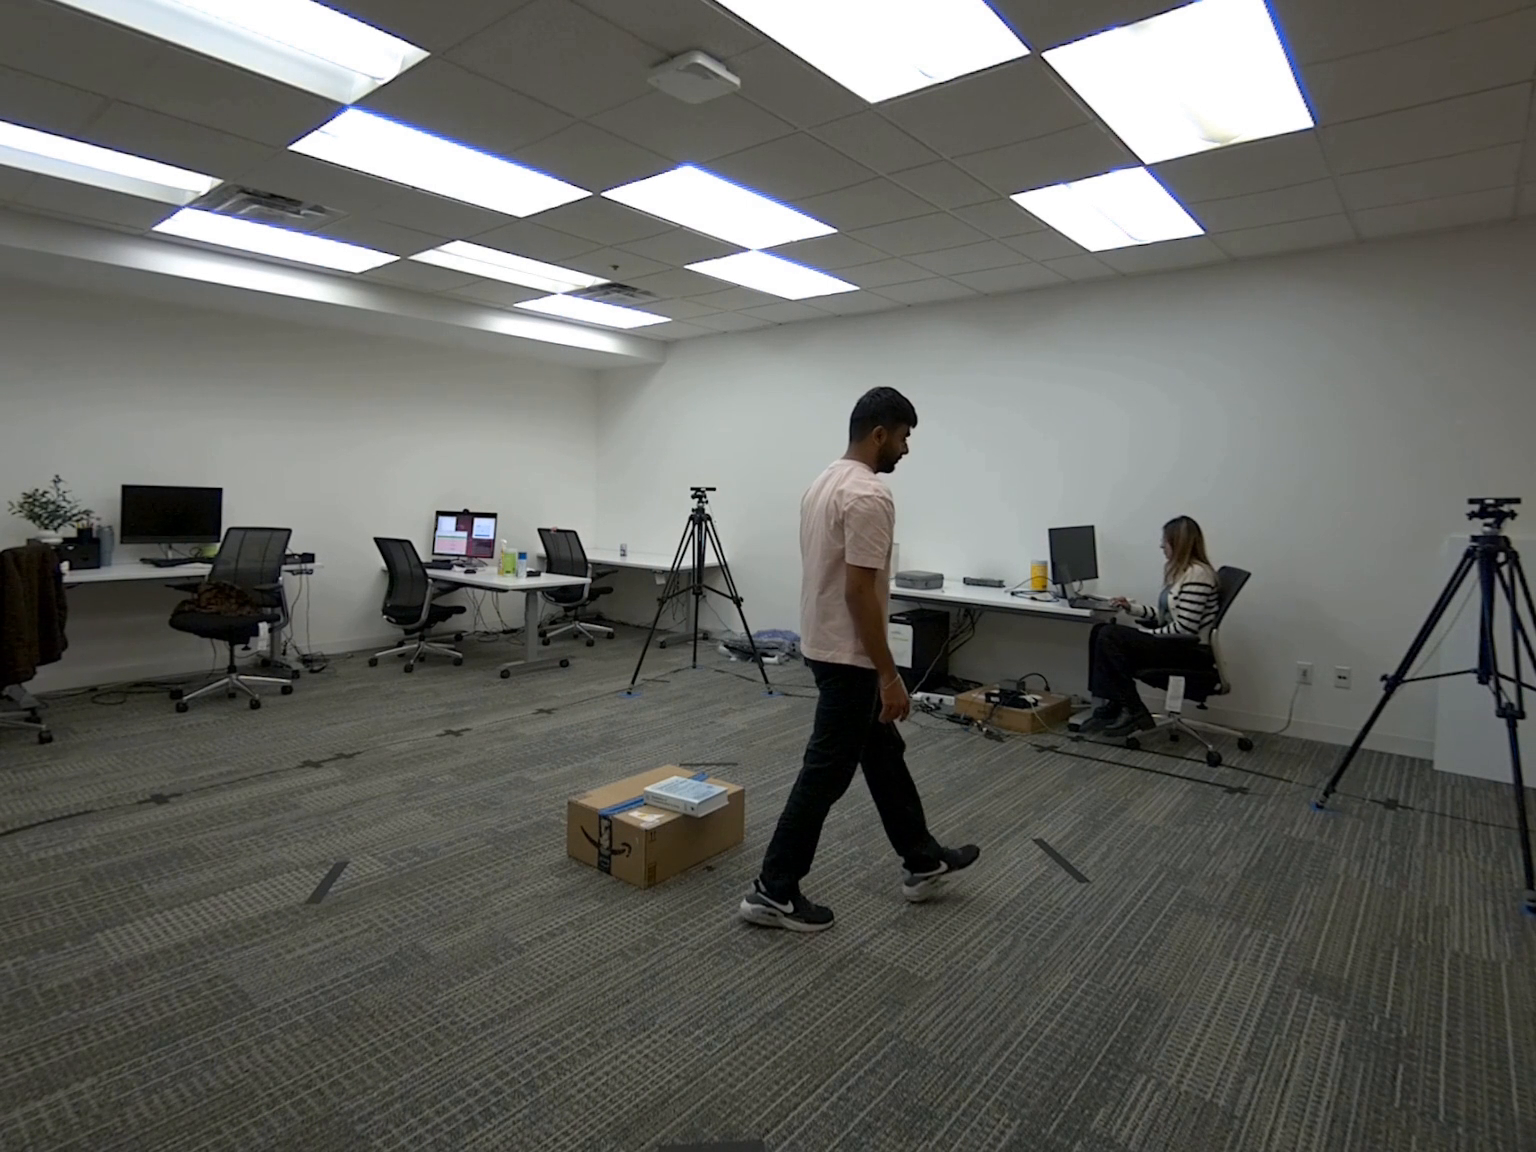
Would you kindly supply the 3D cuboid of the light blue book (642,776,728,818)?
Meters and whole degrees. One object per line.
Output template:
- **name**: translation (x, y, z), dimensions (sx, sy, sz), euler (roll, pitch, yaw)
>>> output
- **light blue book**: translation (-0.314, 0.816, 3.170), dimensions (0.269, 0.059, 0.186), euler (2, 5, 35)
